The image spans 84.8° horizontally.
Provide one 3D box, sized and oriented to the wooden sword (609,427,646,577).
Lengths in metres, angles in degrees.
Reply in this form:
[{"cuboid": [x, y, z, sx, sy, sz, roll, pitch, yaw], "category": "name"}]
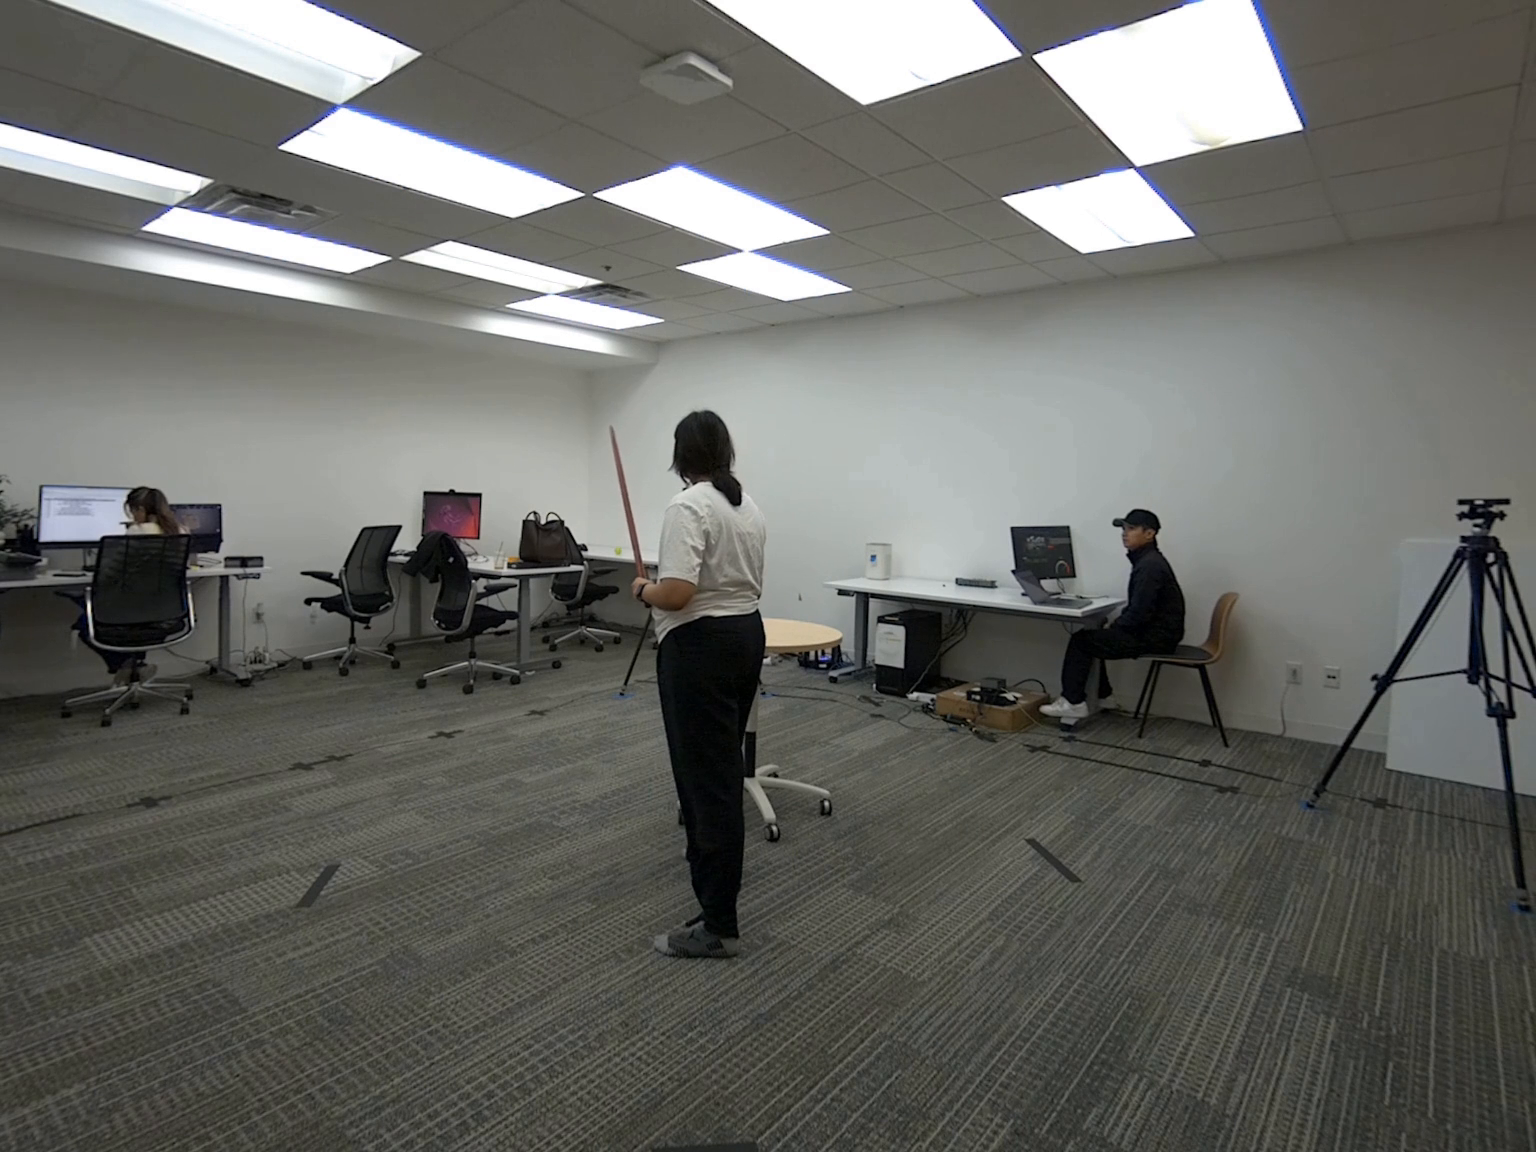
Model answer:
[{"cuboid": [-0.538, -0.280, 3.180, 0.049, 0.024, 1.064, 29, 29, -38], "category": "wooden sword"}]
